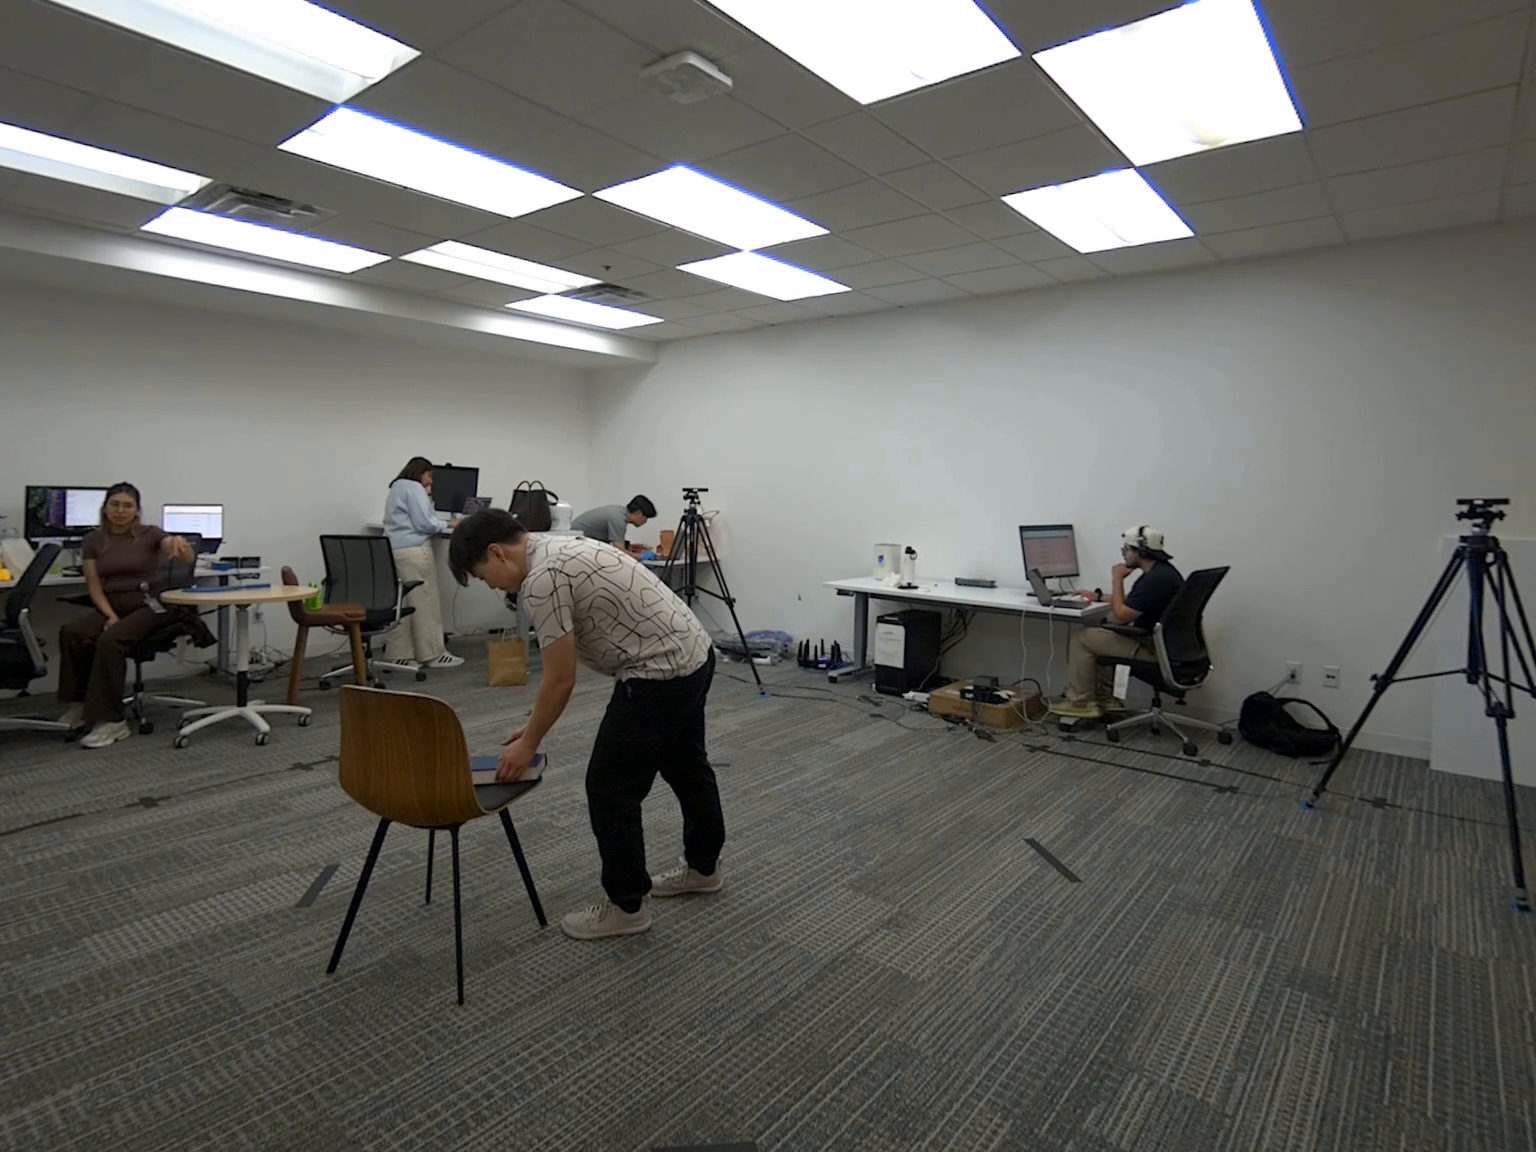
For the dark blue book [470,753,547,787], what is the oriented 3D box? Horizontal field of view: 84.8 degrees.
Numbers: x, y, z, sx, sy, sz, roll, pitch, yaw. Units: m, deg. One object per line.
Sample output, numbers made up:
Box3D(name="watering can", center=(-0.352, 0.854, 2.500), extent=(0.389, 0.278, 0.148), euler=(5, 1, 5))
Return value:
Box3D(name="dark blue book", center=(-0.844, 0.599, 2.662), extent=(0.245, 0.045, 0.164), euler=(-2, 4, 1))
